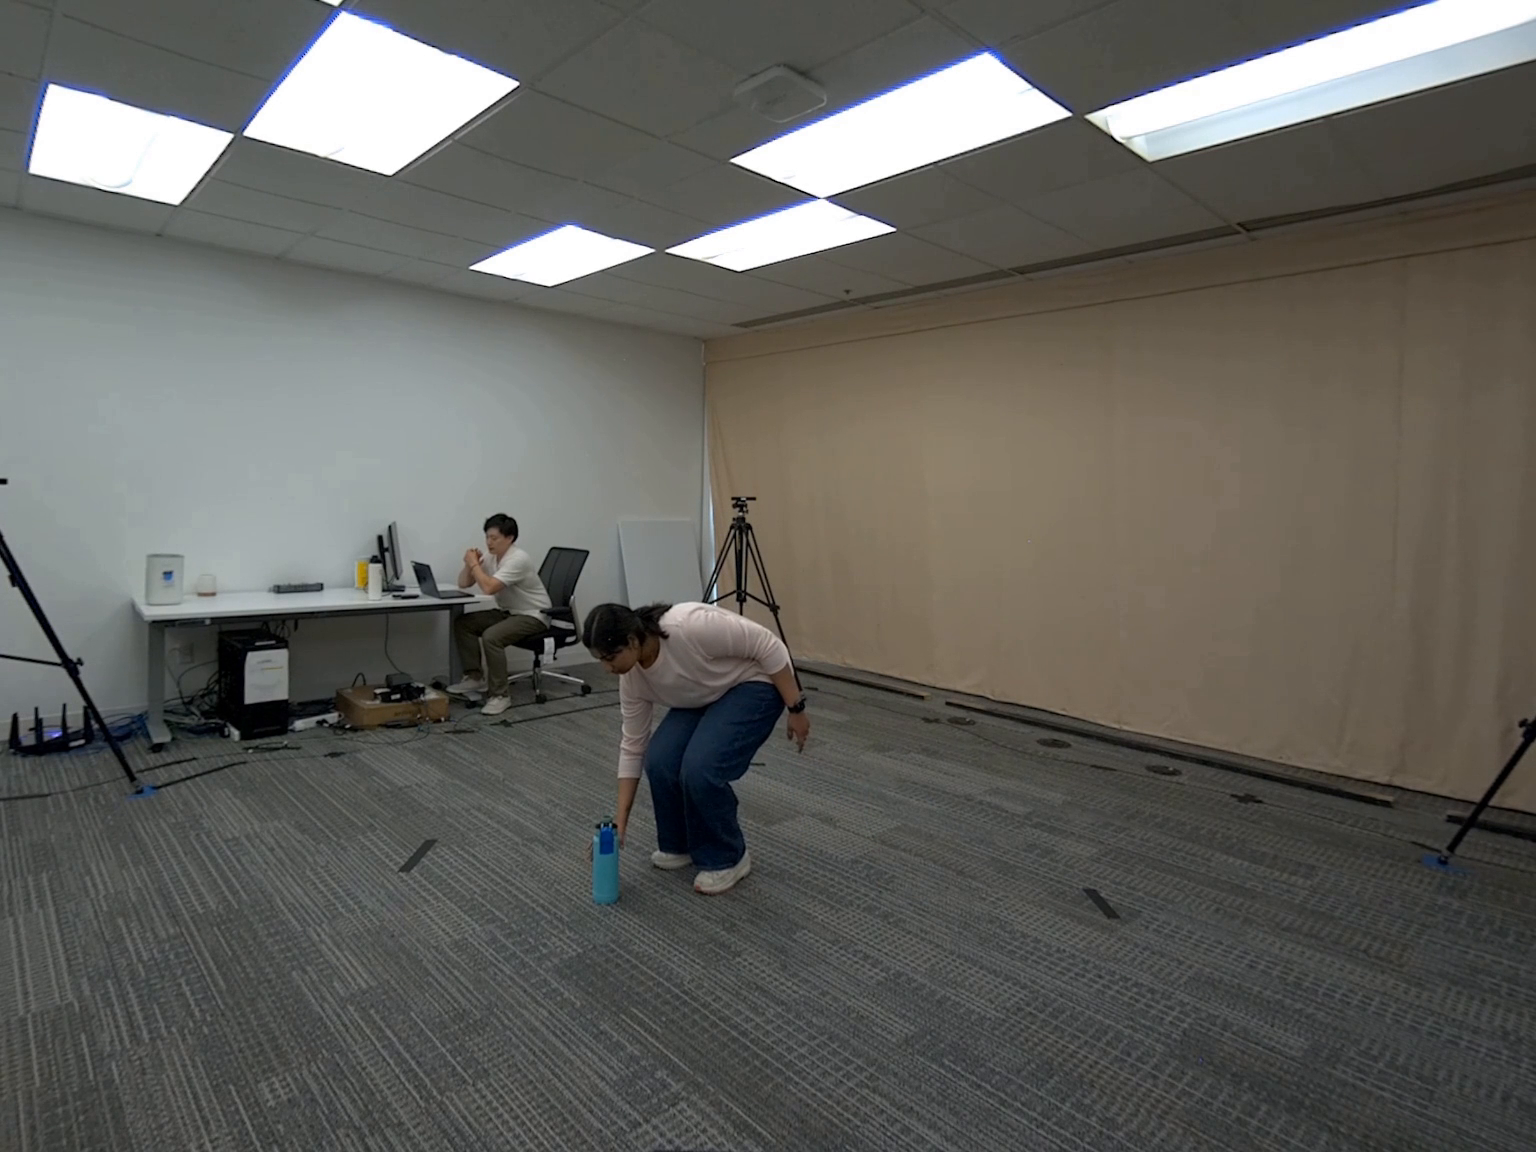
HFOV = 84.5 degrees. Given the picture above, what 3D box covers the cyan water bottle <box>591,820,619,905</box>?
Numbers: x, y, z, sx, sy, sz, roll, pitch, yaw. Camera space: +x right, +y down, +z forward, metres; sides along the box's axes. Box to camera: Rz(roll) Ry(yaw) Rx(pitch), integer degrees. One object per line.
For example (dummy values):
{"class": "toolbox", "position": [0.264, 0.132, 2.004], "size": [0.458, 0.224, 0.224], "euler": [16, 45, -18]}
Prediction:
{"class": "cyan water bottle", "position": [-0.561, 0.975, 2.896], "size": [0.092, 0.282, 0.093], "euler": [4, 6, -2]}
